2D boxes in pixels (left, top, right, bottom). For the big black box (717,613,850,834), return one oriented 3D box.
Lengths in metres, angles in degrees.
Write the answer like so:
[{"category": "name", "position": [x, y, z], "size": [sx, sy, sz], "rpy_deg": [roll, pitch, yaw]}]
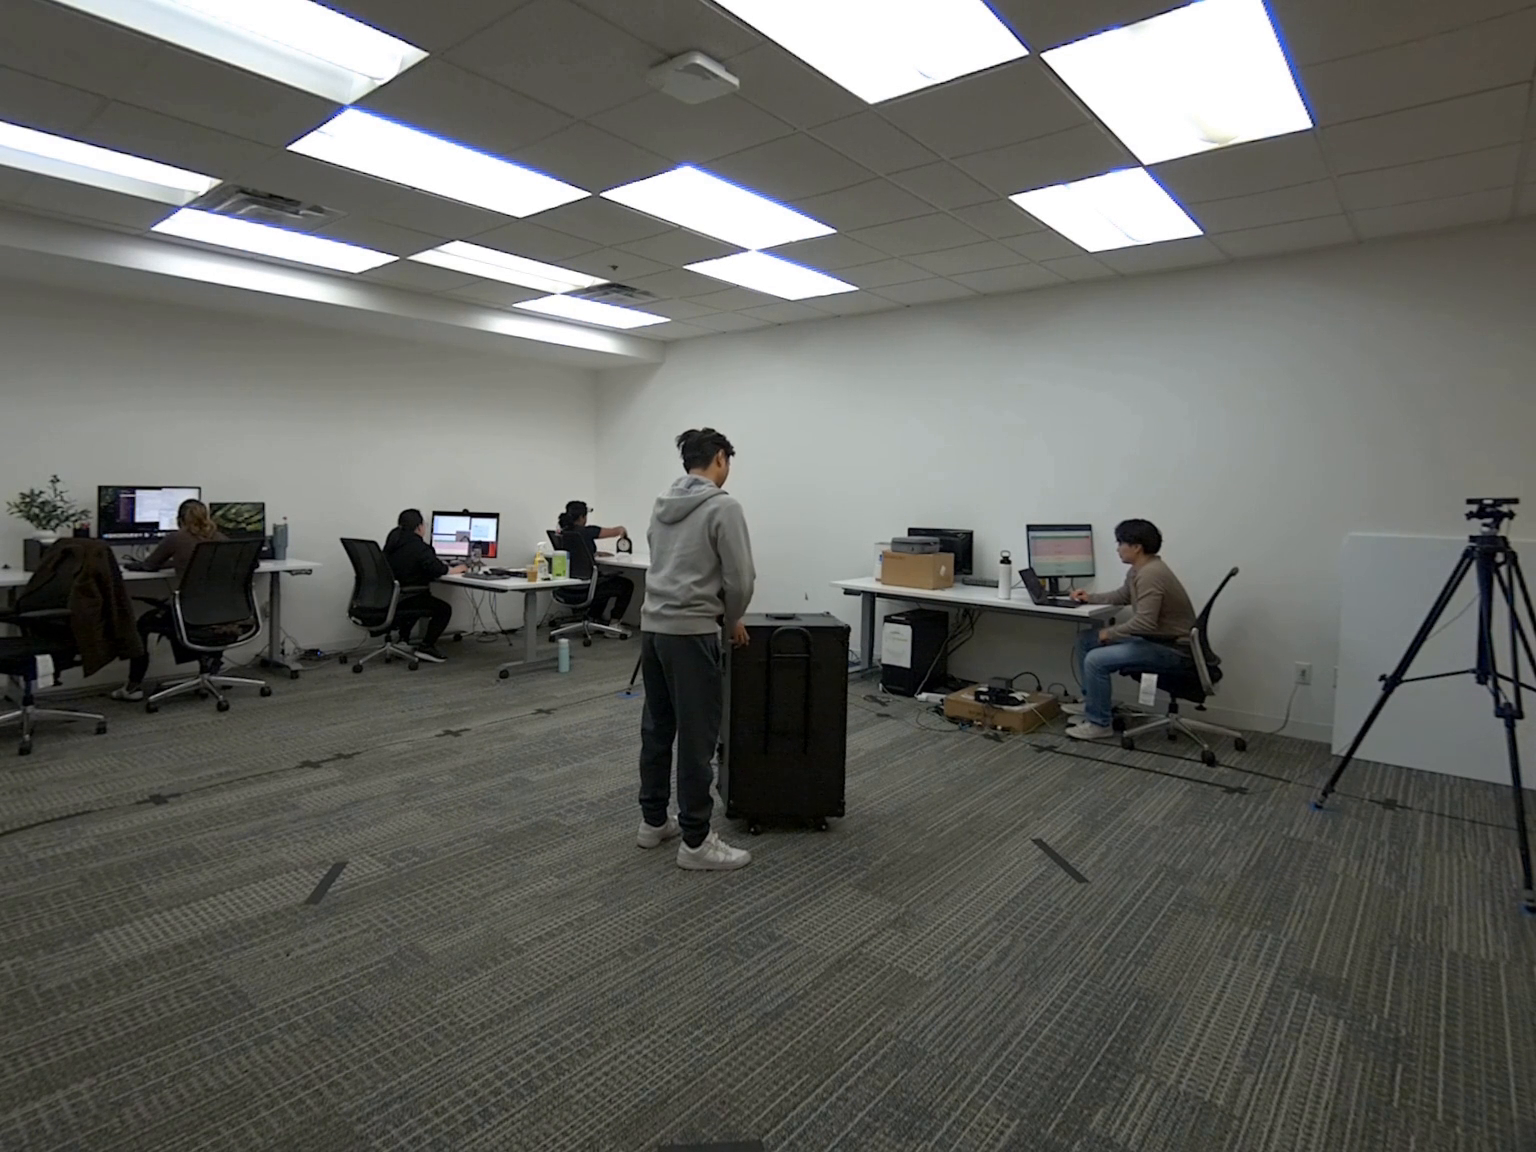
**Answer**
[{"category": "big black box", "position": [0.055, 0.601, 3.577], "size": [0.517, 0.858, 0.401], "rpy_deg": [1, 5, -8]}]
